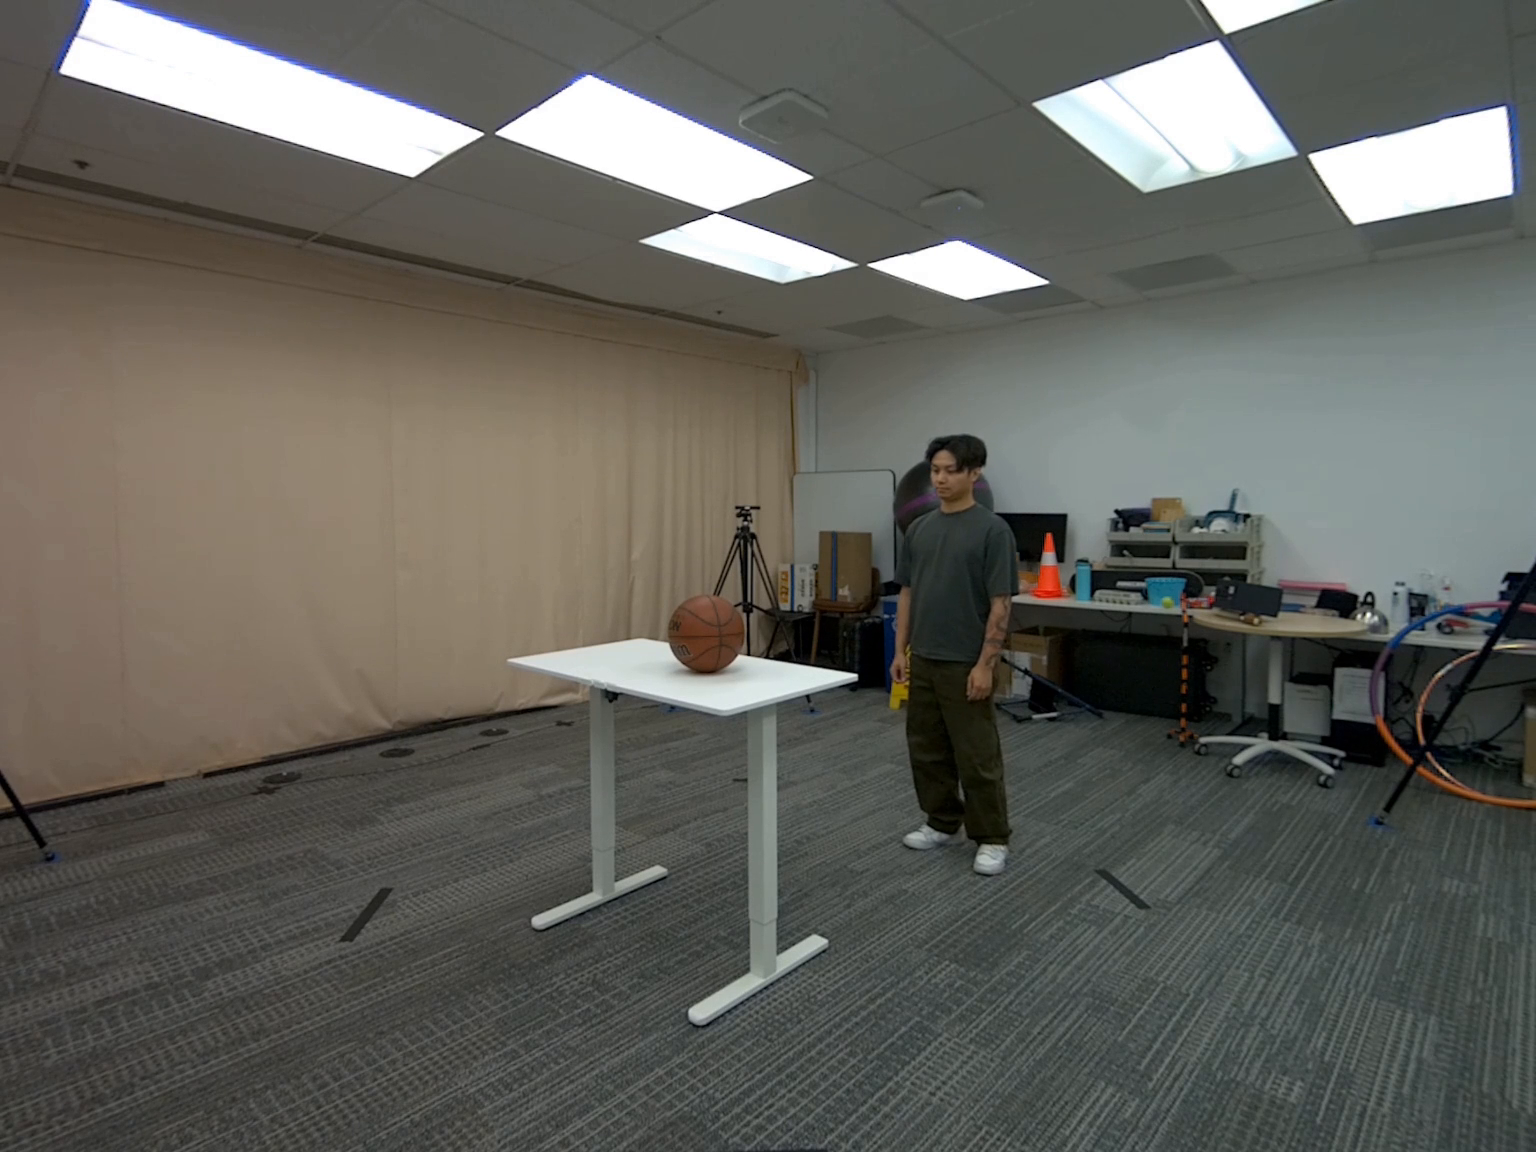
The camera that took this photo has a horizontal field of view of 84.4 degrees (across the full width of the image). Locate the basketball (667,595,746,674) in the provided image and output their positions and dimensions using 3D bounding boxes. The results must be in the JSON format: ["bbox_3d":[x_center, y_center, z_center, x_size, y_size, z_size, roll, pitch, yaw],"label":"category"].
[{"bbox_3d":[-0.191,0.177,2.604,0.236,0.235,0.237,0,4,-2],"label":"basketball"}]
